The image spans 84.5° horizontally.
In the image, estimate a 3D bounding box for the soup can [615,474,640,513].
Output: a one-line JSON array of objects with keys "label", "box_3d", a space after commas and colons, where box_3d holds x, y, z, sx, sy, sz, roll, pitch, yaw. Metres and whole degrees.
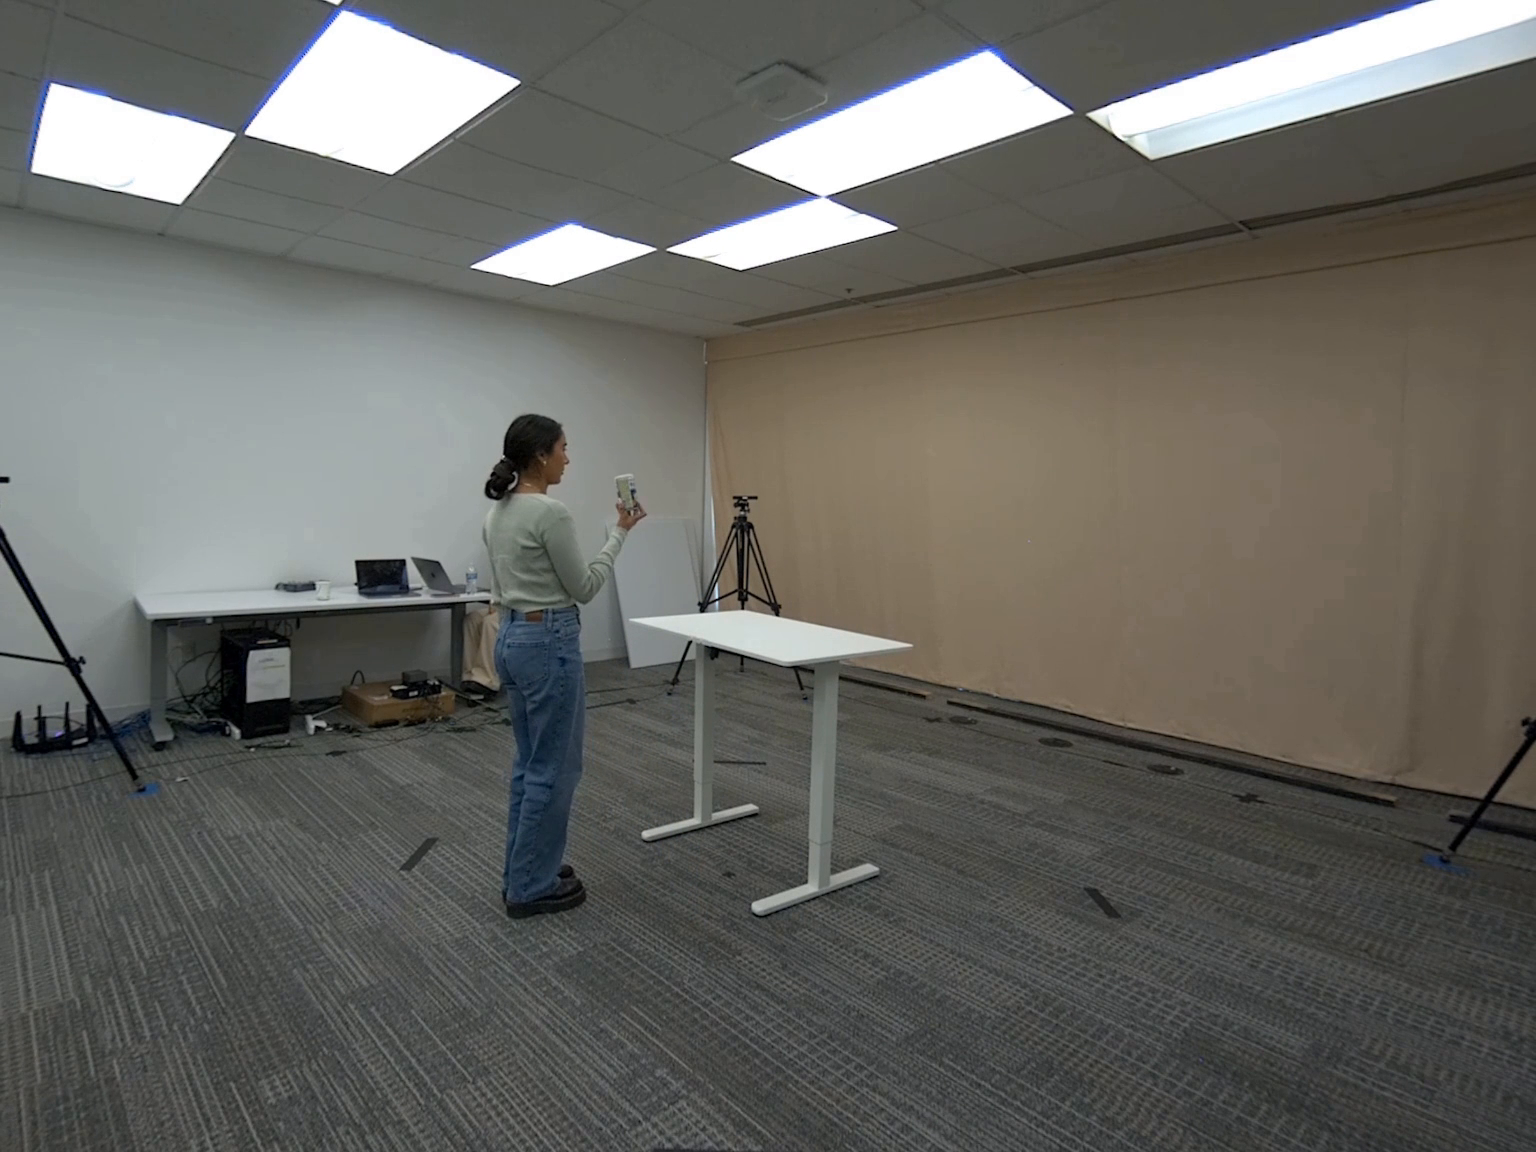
[{"label": "soup can", "box_3d": [-0.486, -0.280, 2.874, 0.067, 0.121, 0.067, -10, 0, -1]}]
